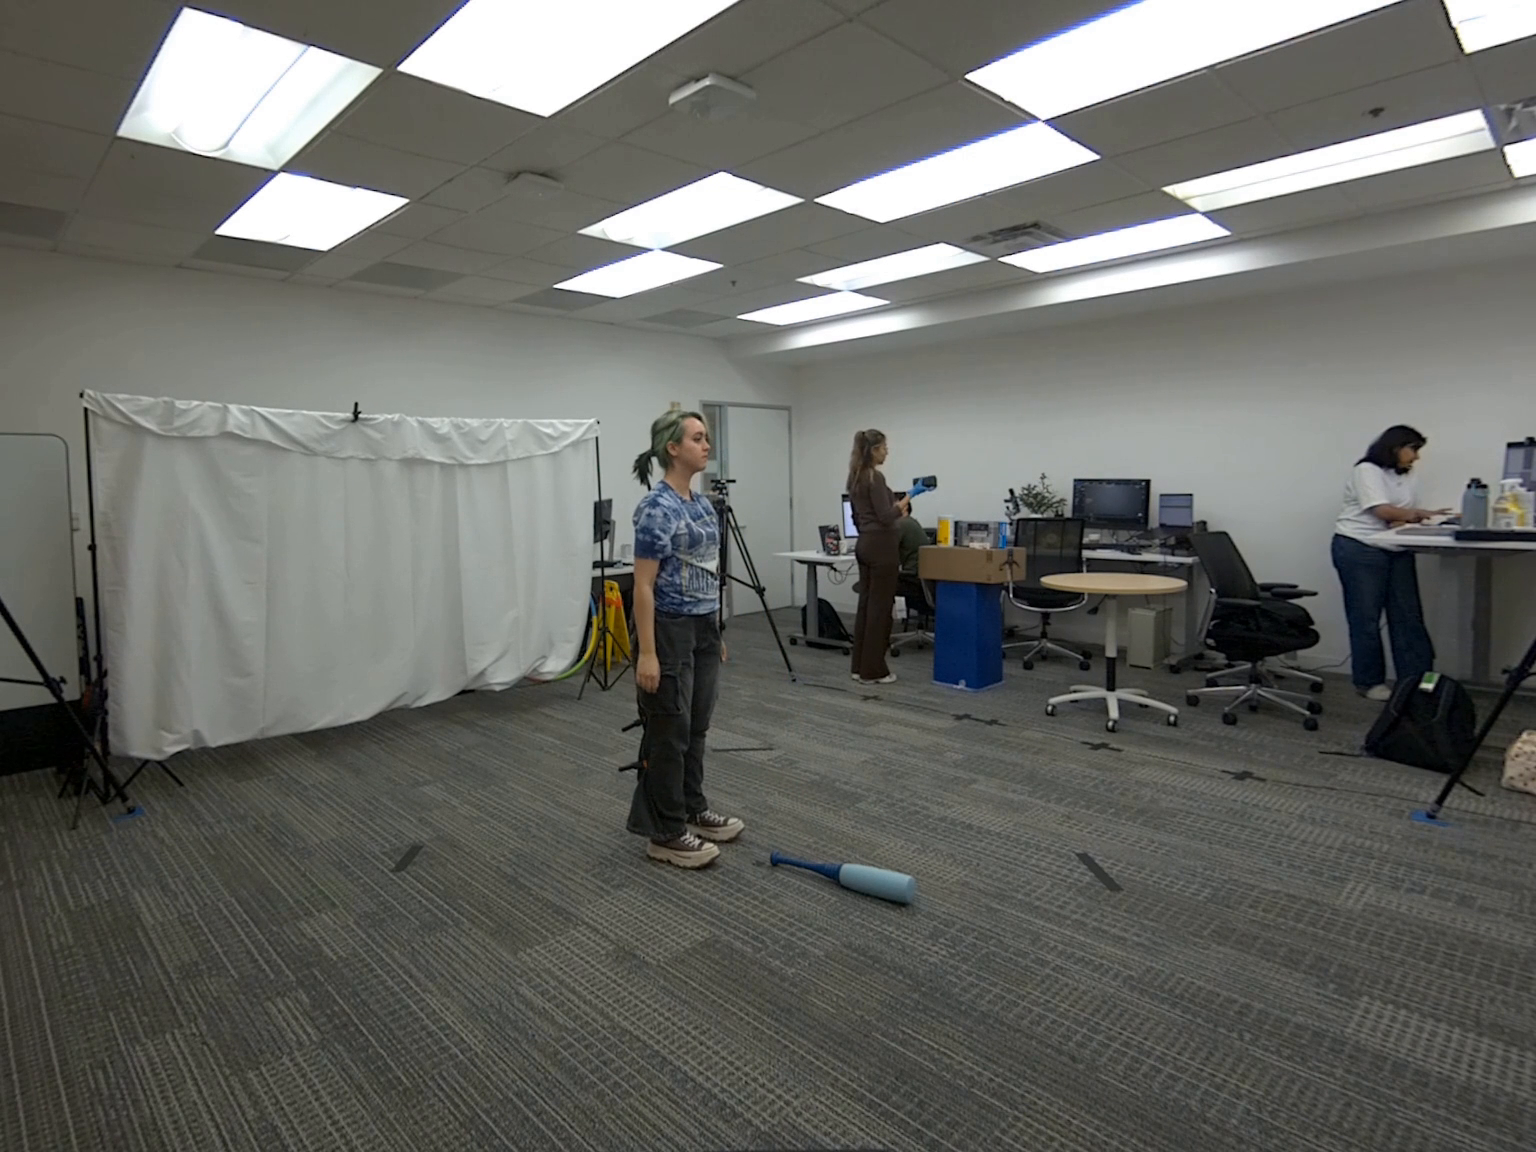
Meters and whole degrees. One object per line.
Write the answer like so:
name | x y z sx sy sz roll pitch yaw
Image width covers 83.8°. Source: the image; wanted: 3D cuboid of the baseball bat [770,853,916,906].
baseball bat | 0.247 1.030 2.941 0.558 0.089 0.087 0 4 36
